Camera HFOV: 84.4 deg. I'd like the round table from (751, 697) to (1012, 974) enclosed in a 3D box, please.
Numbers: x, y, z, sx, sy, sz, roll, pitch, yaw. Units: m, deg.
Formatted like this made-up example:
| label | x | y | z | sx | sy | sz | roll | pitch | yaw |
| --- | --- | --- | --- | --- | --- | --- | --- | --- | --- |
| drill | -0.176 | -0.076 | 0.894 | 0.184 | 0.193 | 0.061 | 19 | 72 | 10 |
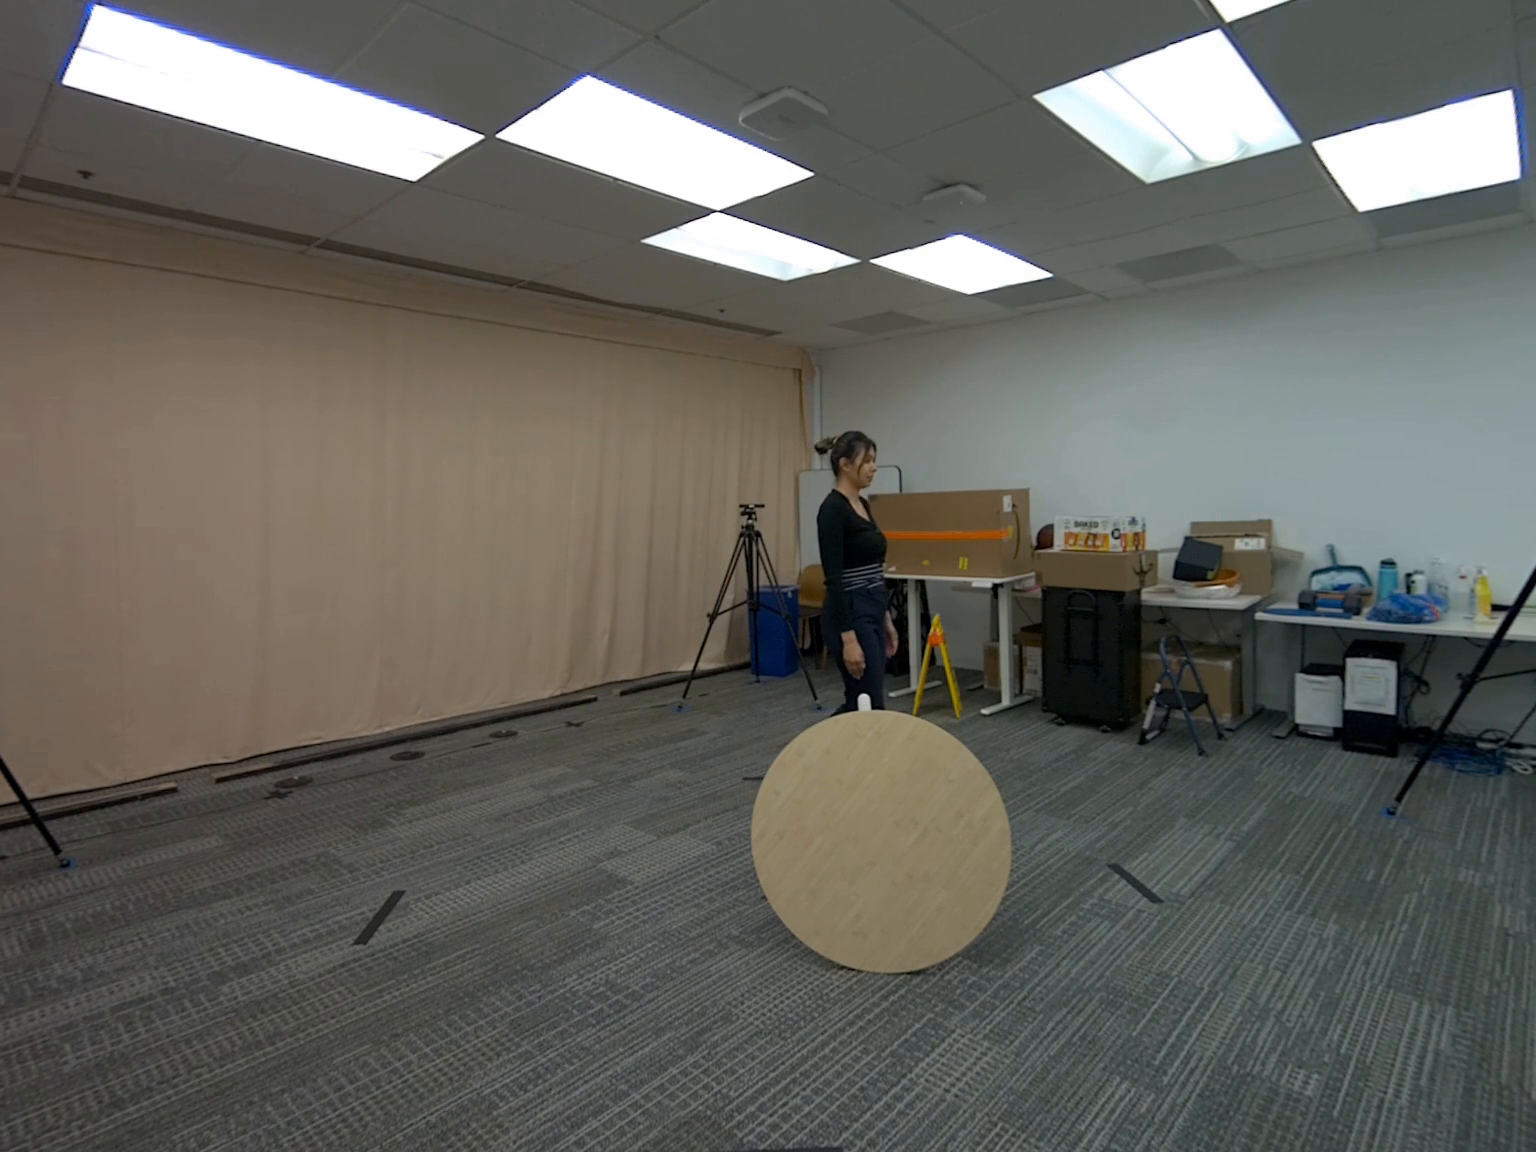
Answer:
| label | x | y | z | sx | sy | sz | roll | pitch | yaw |
| --- | --- | --- | --- | --- | --- | --- | --- | --- | --- |
| round table | 0.369 | 0.798 | 2.907 | 0.771 | 0.765 | 0.786 | 0 | -2 | 7 |
